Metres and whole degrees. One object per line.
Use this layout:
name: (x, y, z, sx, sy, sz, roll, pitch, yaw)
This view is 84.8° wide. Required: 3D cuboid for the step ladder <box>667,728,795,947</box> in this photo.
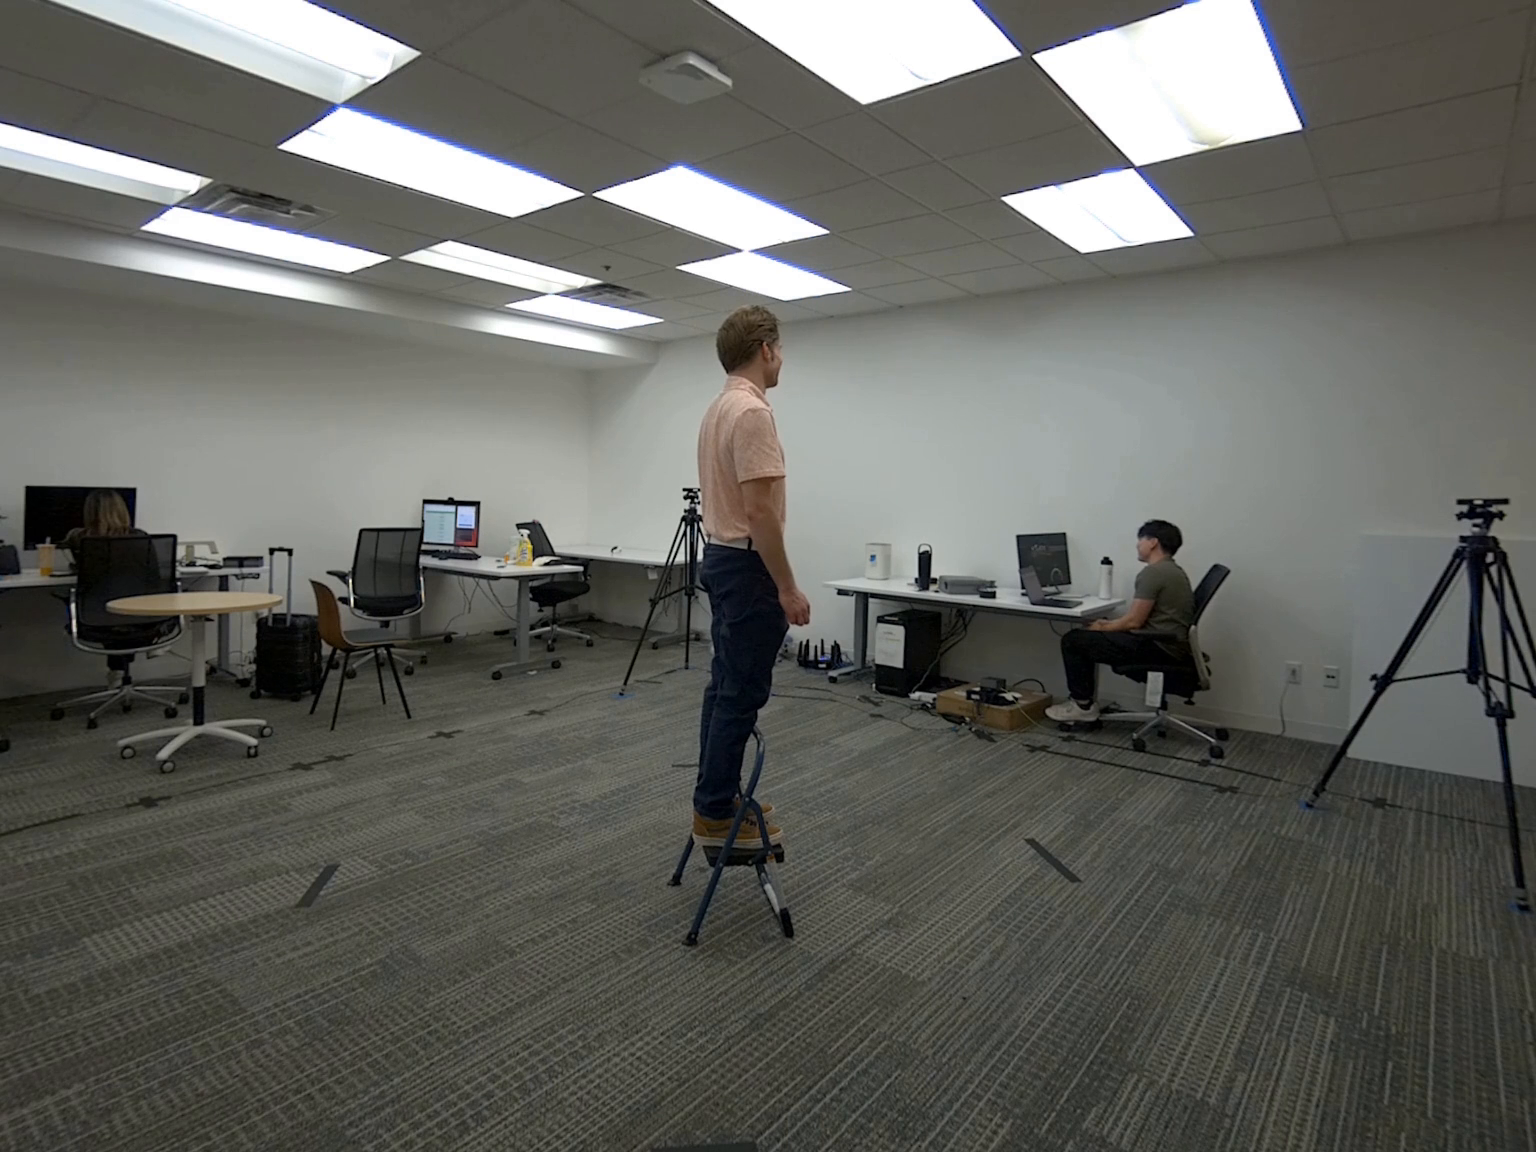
step ladder: (-0.129, 0.802, 2.803, 0.345, 0.604, 0.437, 0, 4, -13)
